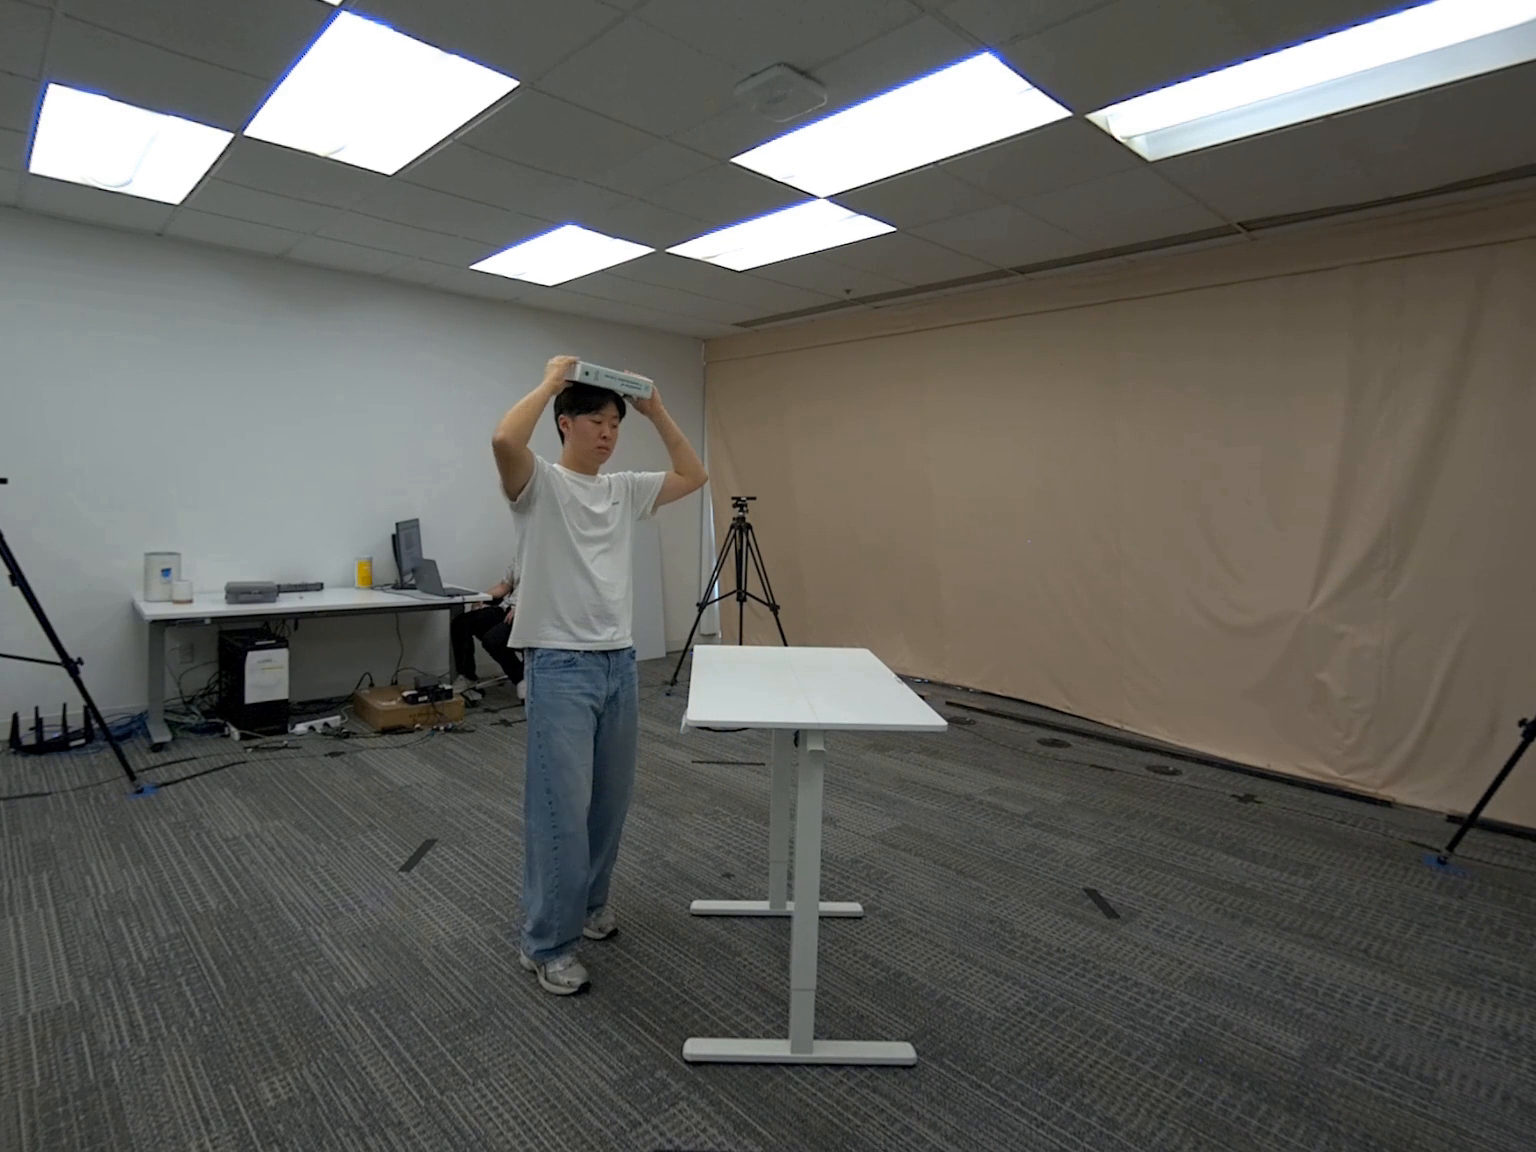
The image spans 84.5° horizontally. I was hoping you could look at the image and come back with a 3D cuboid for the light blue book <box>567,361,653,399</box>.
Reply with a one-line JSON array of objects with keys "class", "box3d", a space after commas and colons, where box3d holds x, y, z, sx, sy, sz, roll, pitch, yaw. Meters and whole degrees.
[{"class": "light blue book", "box3d": [-0.524, -0.597, 2.554, 0.254, 0.059, 0.197, 5, 8, -44]}]
